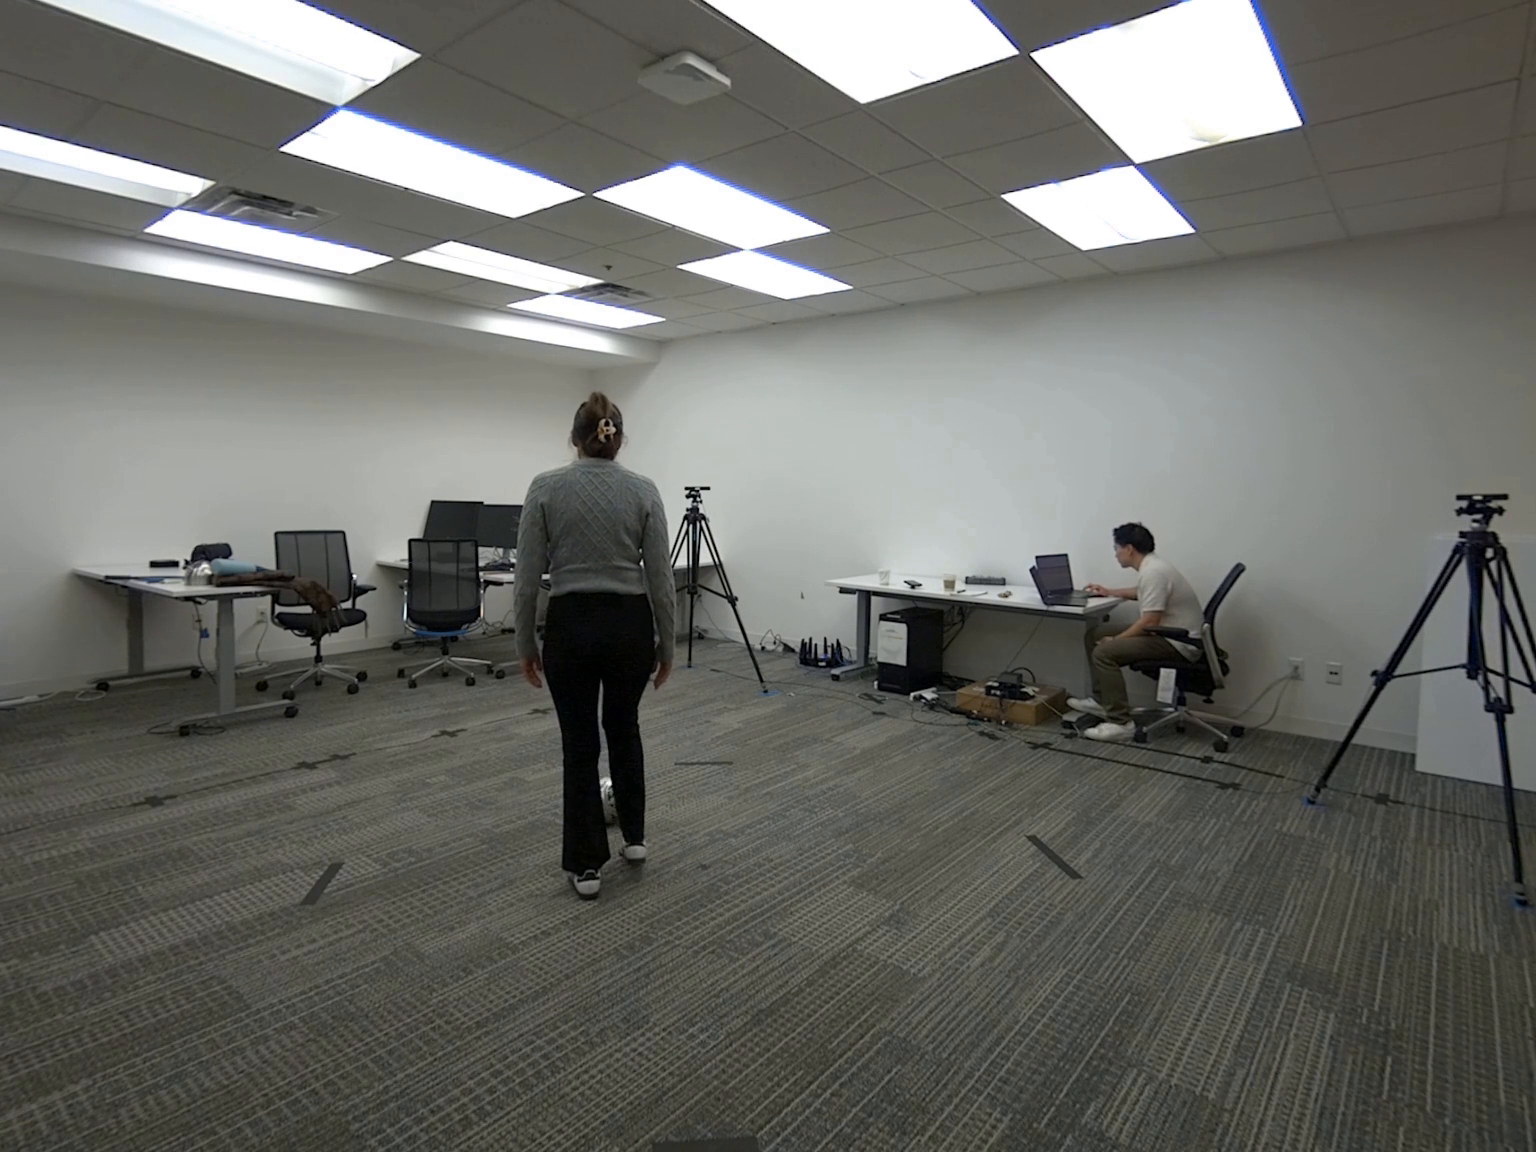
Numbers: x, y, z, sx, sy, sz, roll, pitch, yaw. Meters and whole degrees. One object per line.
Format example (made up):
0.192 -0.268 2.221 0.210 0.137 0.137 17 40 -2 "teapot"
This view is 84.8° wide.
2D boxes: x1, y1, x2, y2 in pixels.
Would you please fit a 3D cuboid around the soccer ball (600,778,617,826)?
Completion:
-0.674 0.921 3.506 0.187 0.187 0.188 1 4 -2 "soccer ball"
